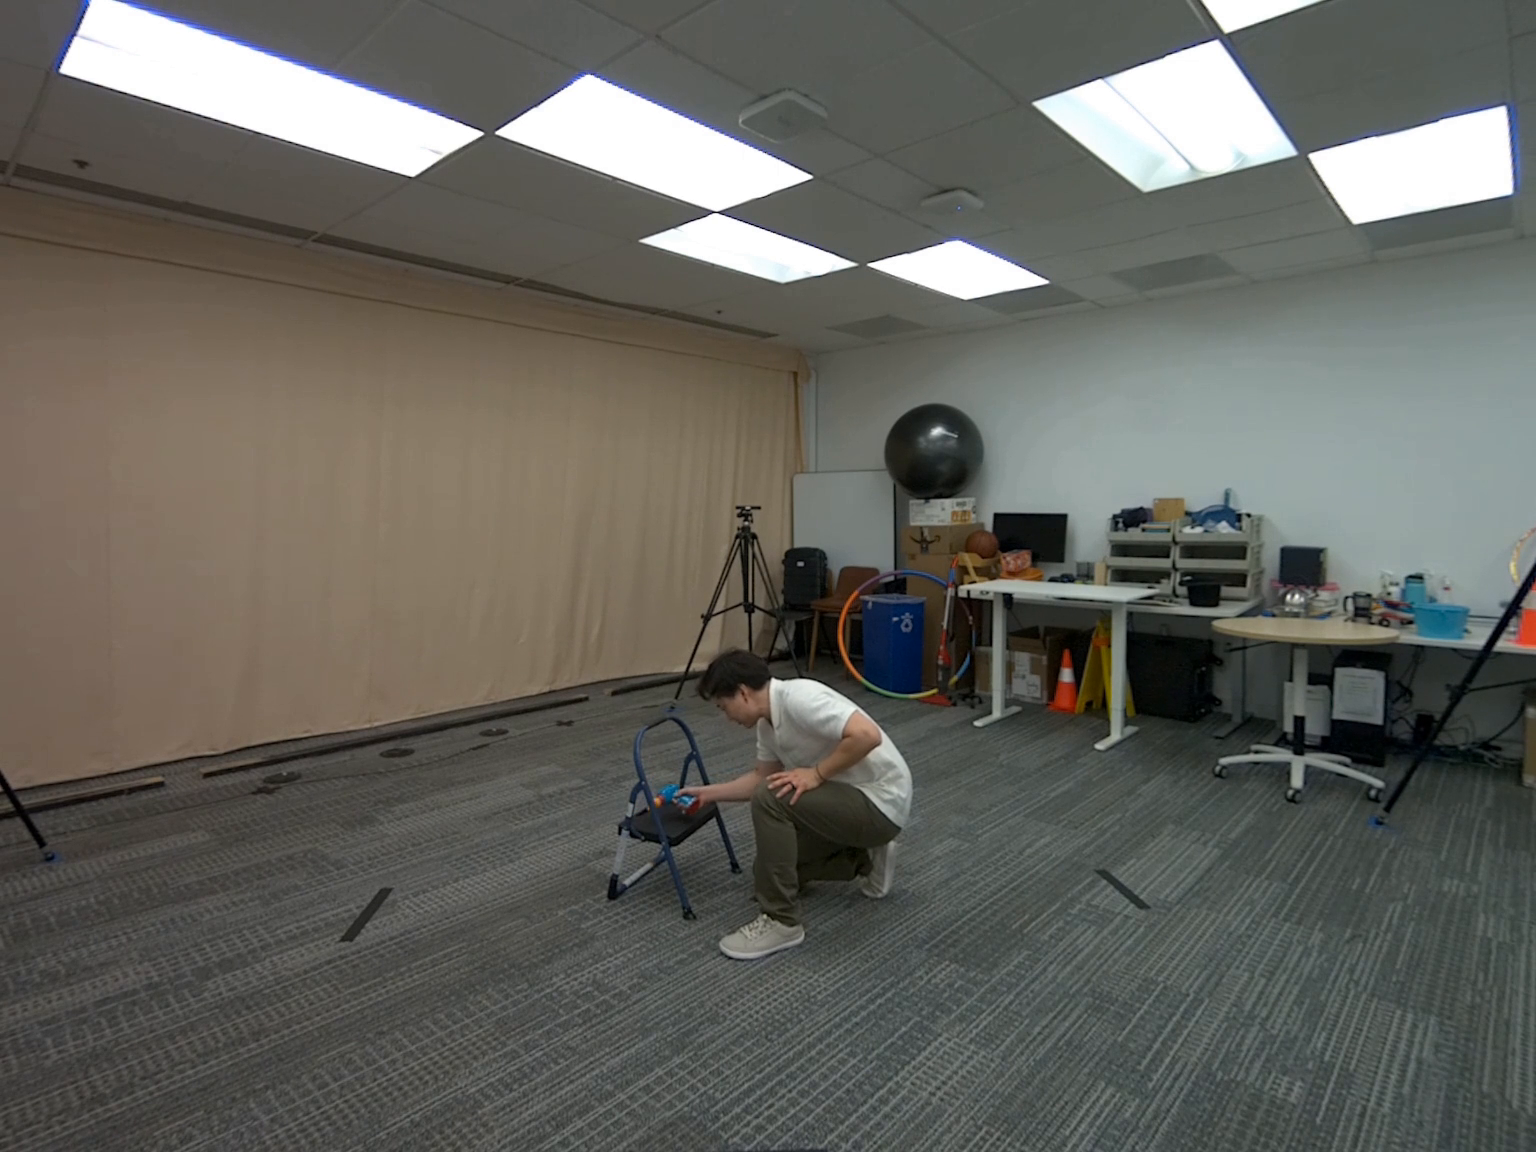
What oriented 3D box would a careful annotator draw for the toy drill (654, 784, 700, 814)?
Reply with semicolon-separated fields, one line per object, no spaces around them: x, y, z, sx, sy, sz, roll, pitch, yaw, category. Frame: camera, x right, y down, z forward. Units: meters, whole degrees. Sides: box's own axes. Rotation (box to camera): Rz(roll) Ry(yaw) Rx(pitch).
-0.338;0.830;3.030;0.151;0.060;0.166;17;27;36;toy drill
